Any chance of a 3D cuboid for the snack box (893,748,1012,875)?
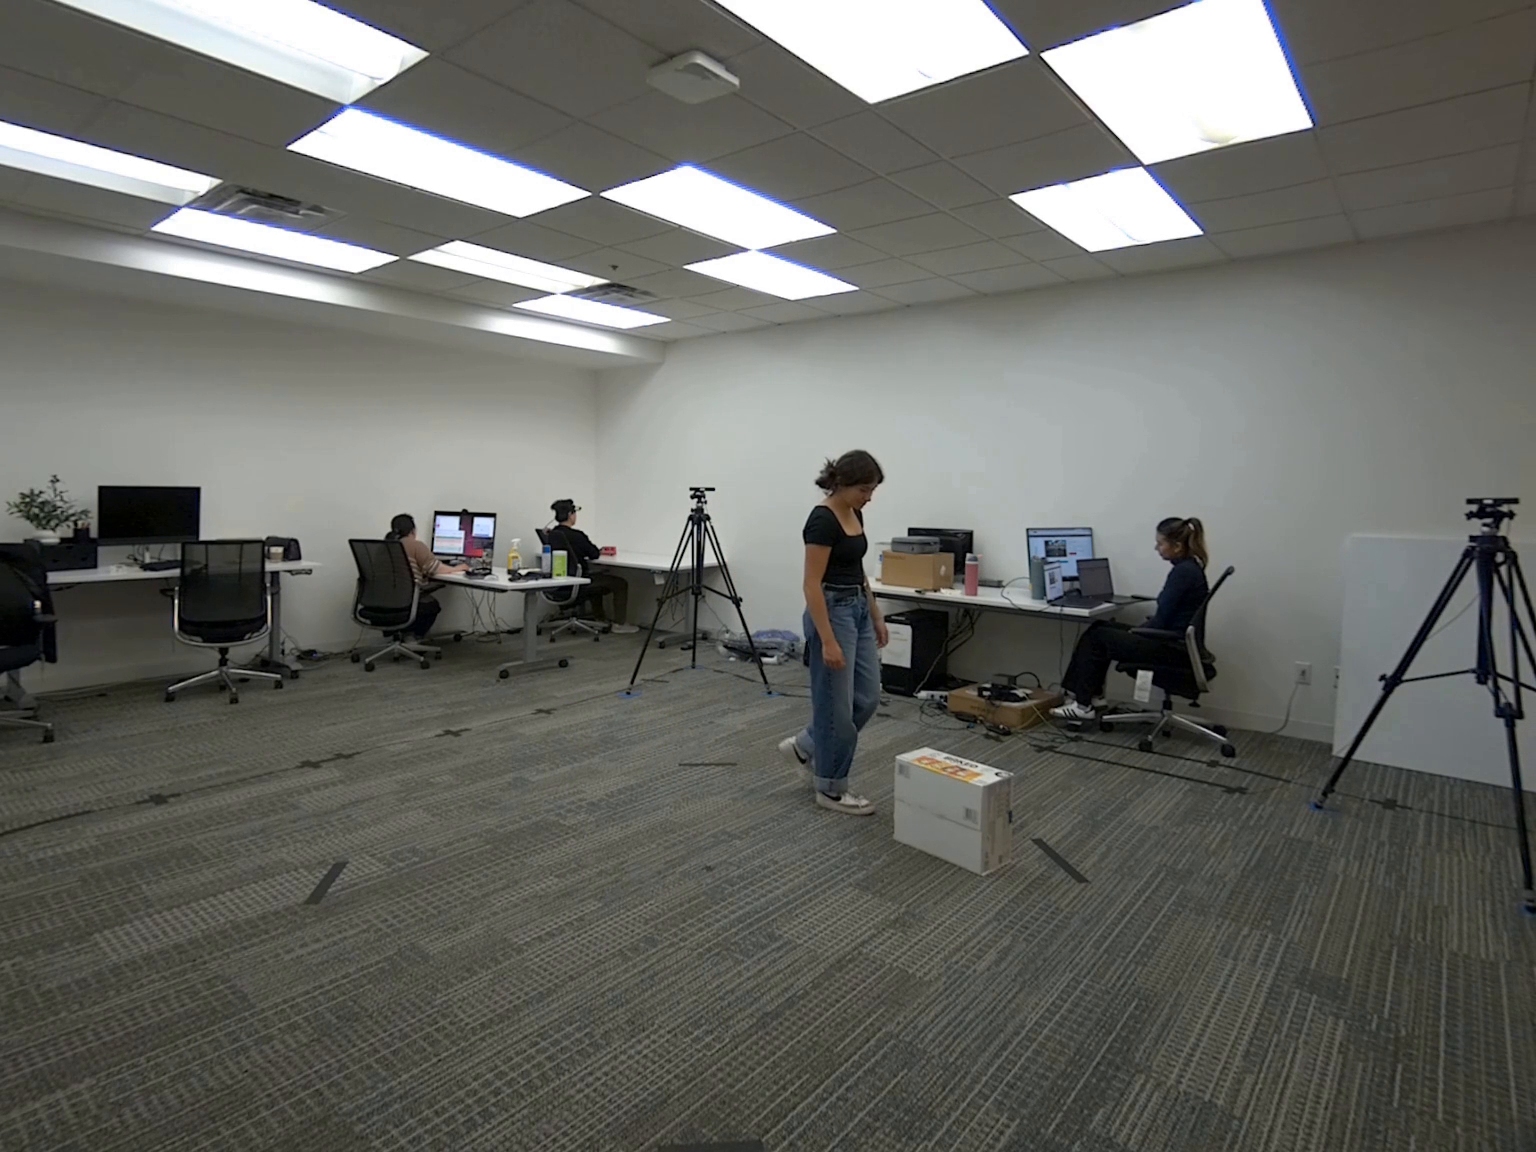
[{"bbox_3d":[0.710,0.897,3.305,0.199,0.339,0.419,-4,7,-42],"label":"snack box"}]
